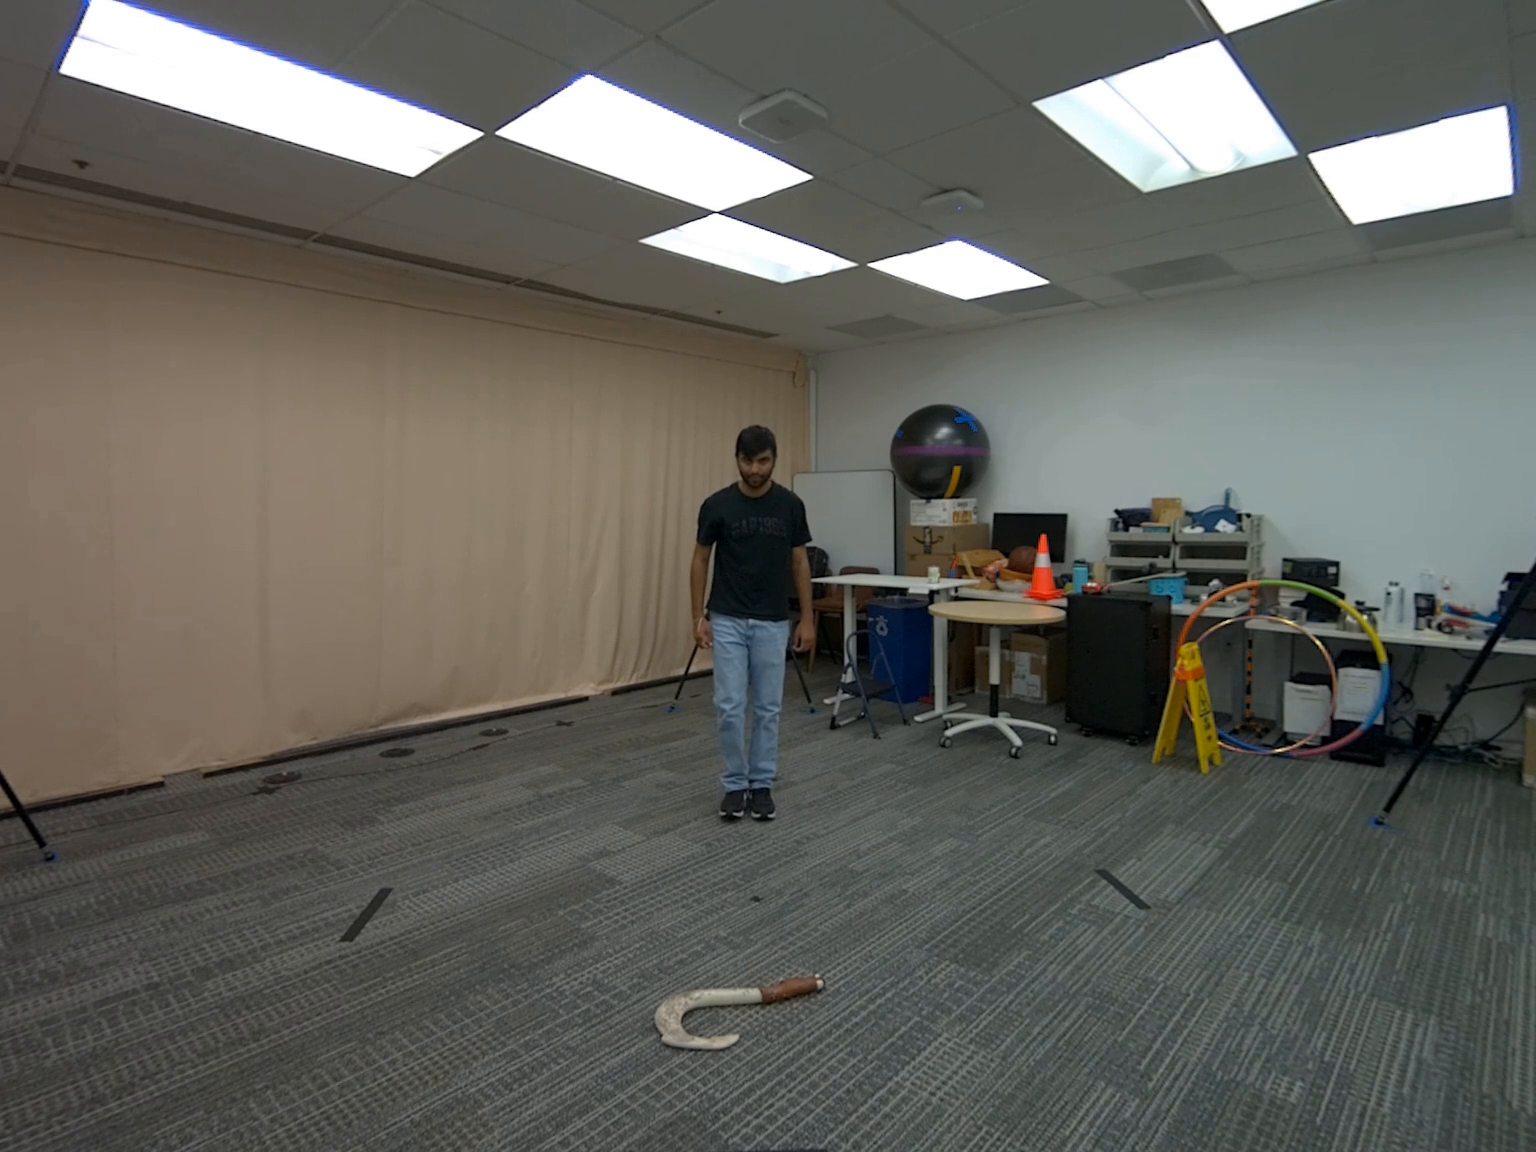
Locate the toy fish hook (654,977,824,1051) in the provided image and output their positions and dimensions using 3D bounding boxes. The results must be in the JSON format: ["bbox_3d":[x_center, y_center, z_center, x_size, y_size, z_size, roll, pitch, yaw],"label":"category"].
[{"bbox_3d":[-0.051,1.176,2.300,0.497,0.048,0.230,-3,14,-19],"label":"toy fish hook"}]
